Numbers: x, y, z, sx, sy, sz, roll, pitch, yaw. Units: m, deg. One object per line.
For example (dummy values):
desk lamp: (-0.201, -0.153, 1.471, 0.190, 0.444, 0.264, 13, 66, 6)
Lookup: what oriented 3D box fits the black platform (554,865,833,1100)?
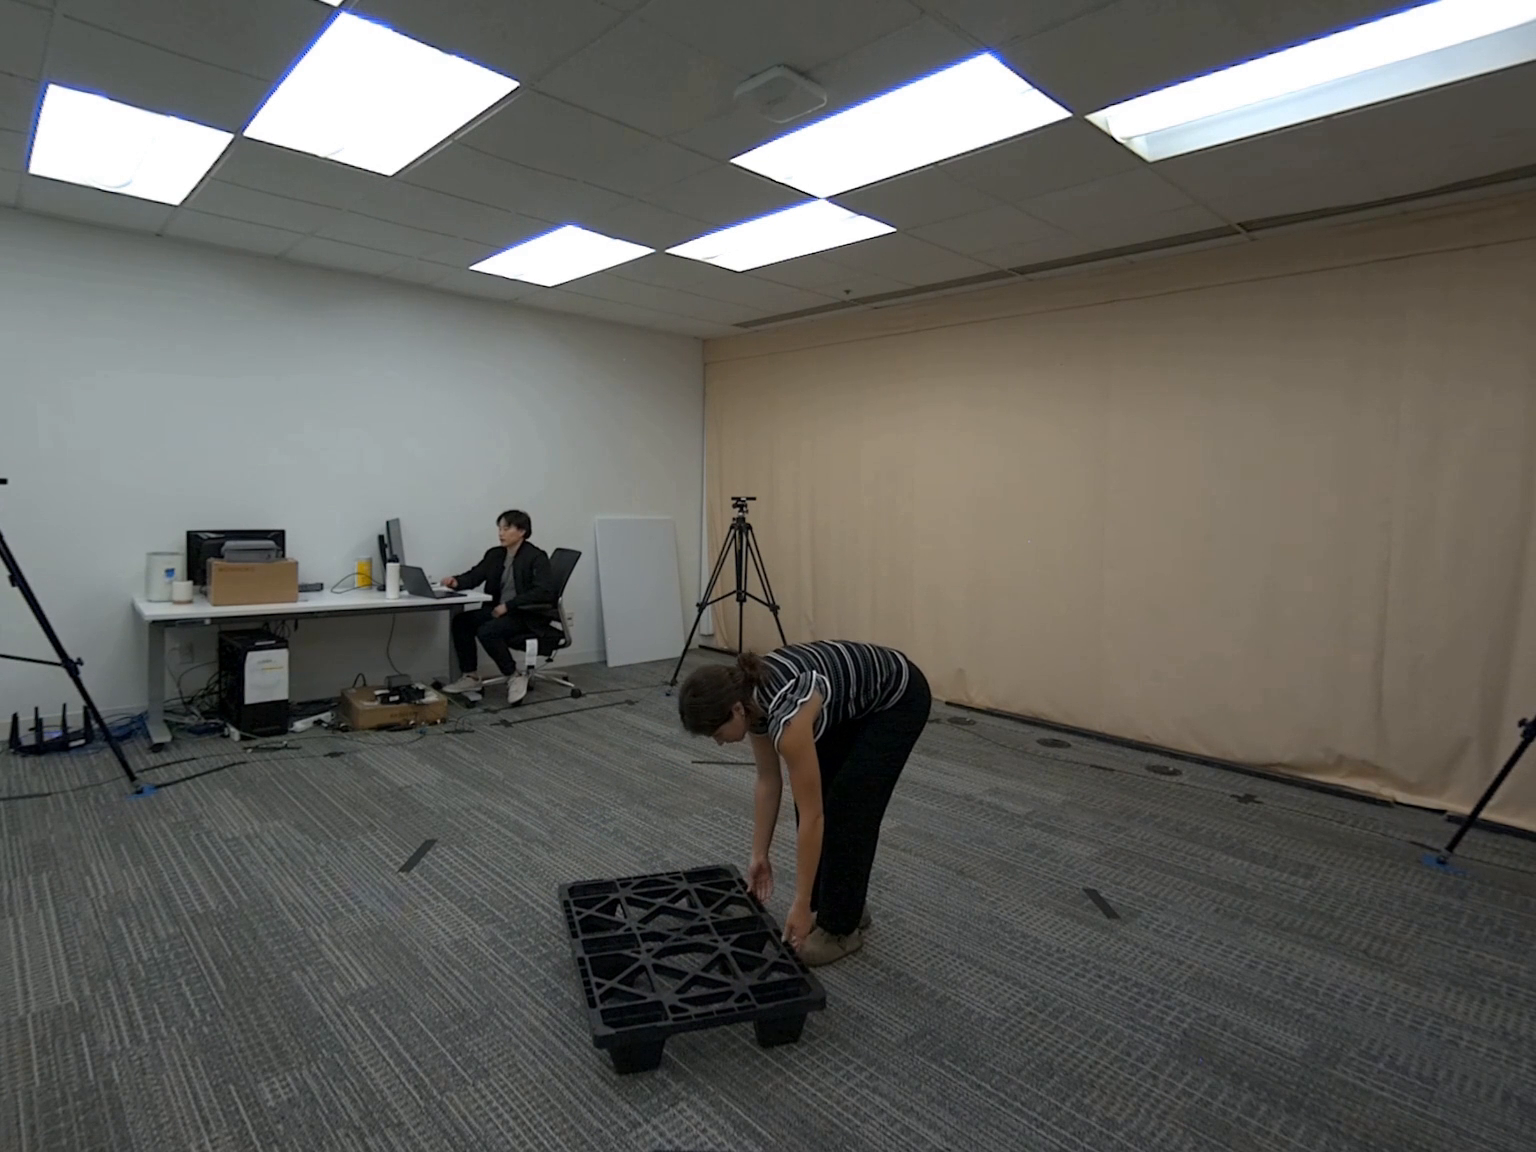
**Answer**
black platform: (-0.265, 1.102, 2.432, 0.596, 0.143, 0.820, 0, 6, -19)
